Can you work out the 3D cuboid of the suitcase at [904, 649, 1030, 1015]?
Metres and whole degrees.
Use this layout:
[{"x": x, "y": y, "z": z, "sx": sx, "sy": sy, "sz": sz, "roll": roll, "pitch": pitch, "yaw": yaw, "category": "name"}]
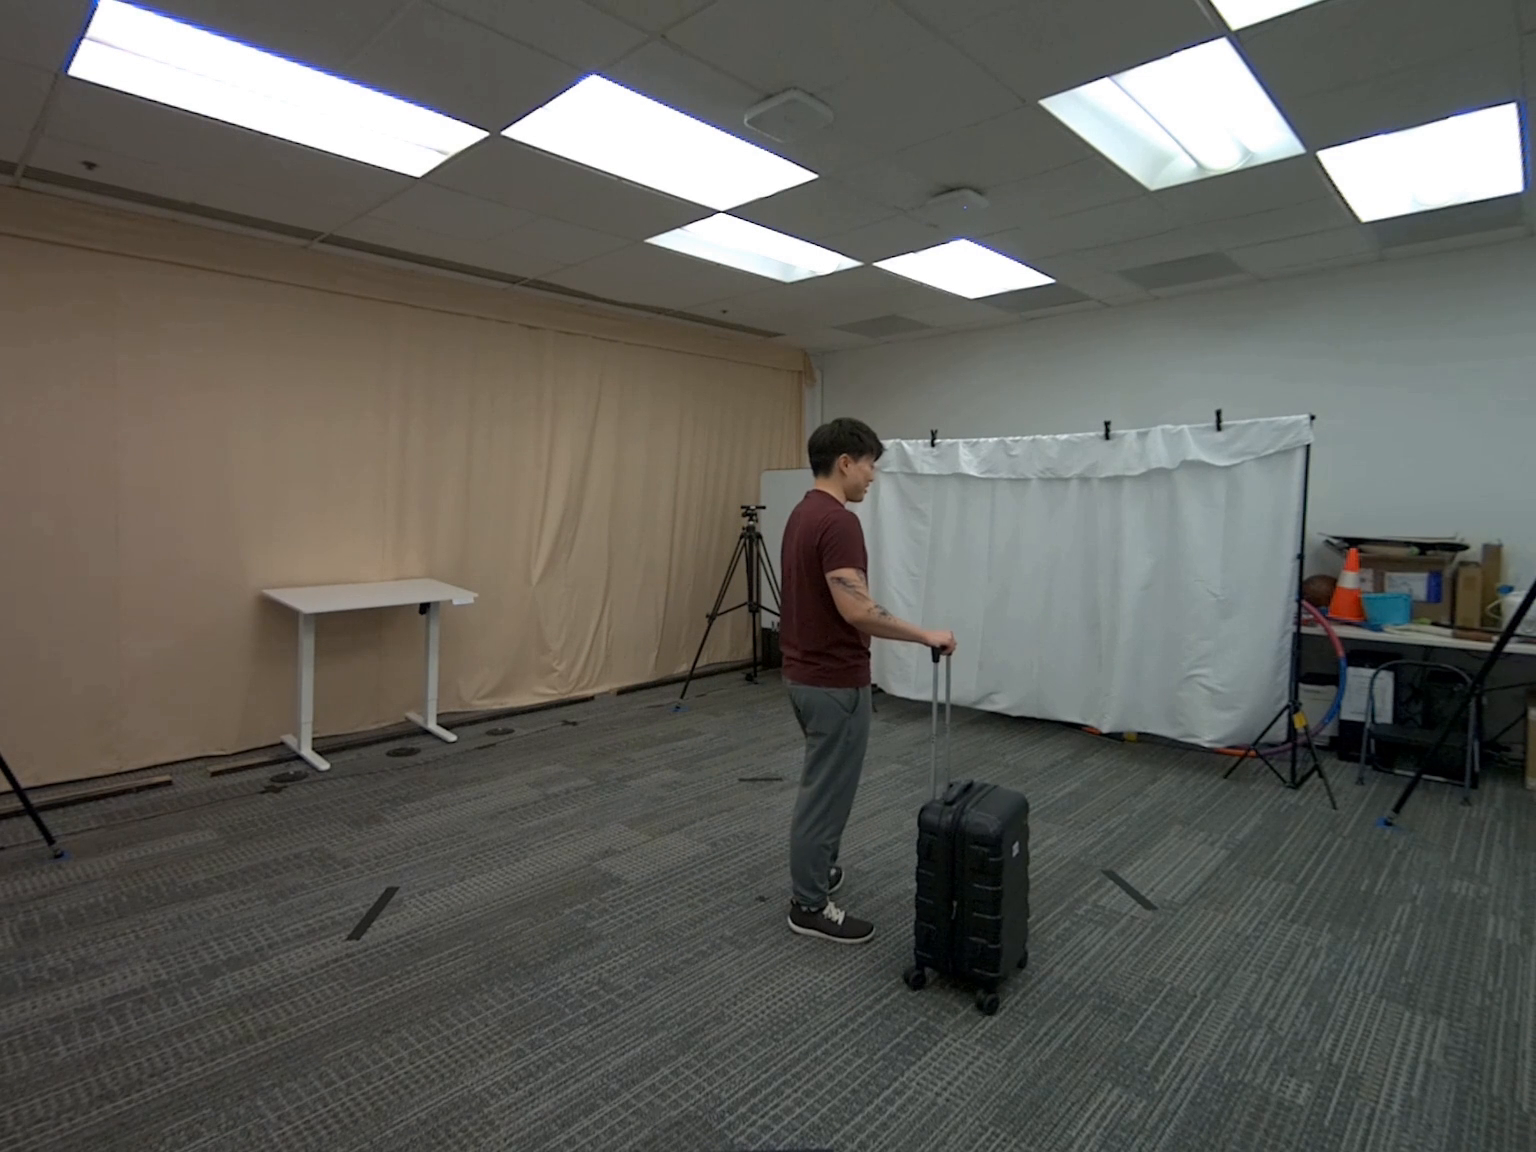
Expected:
[{"x": 0.628, "y": 0.711, "z": 2.475, "sx": 0.265, "sy": 0.977, "sz": 0.373, "roll": 4, "pitch": 4, "yaw": 32, "category": "suitcase"}]
